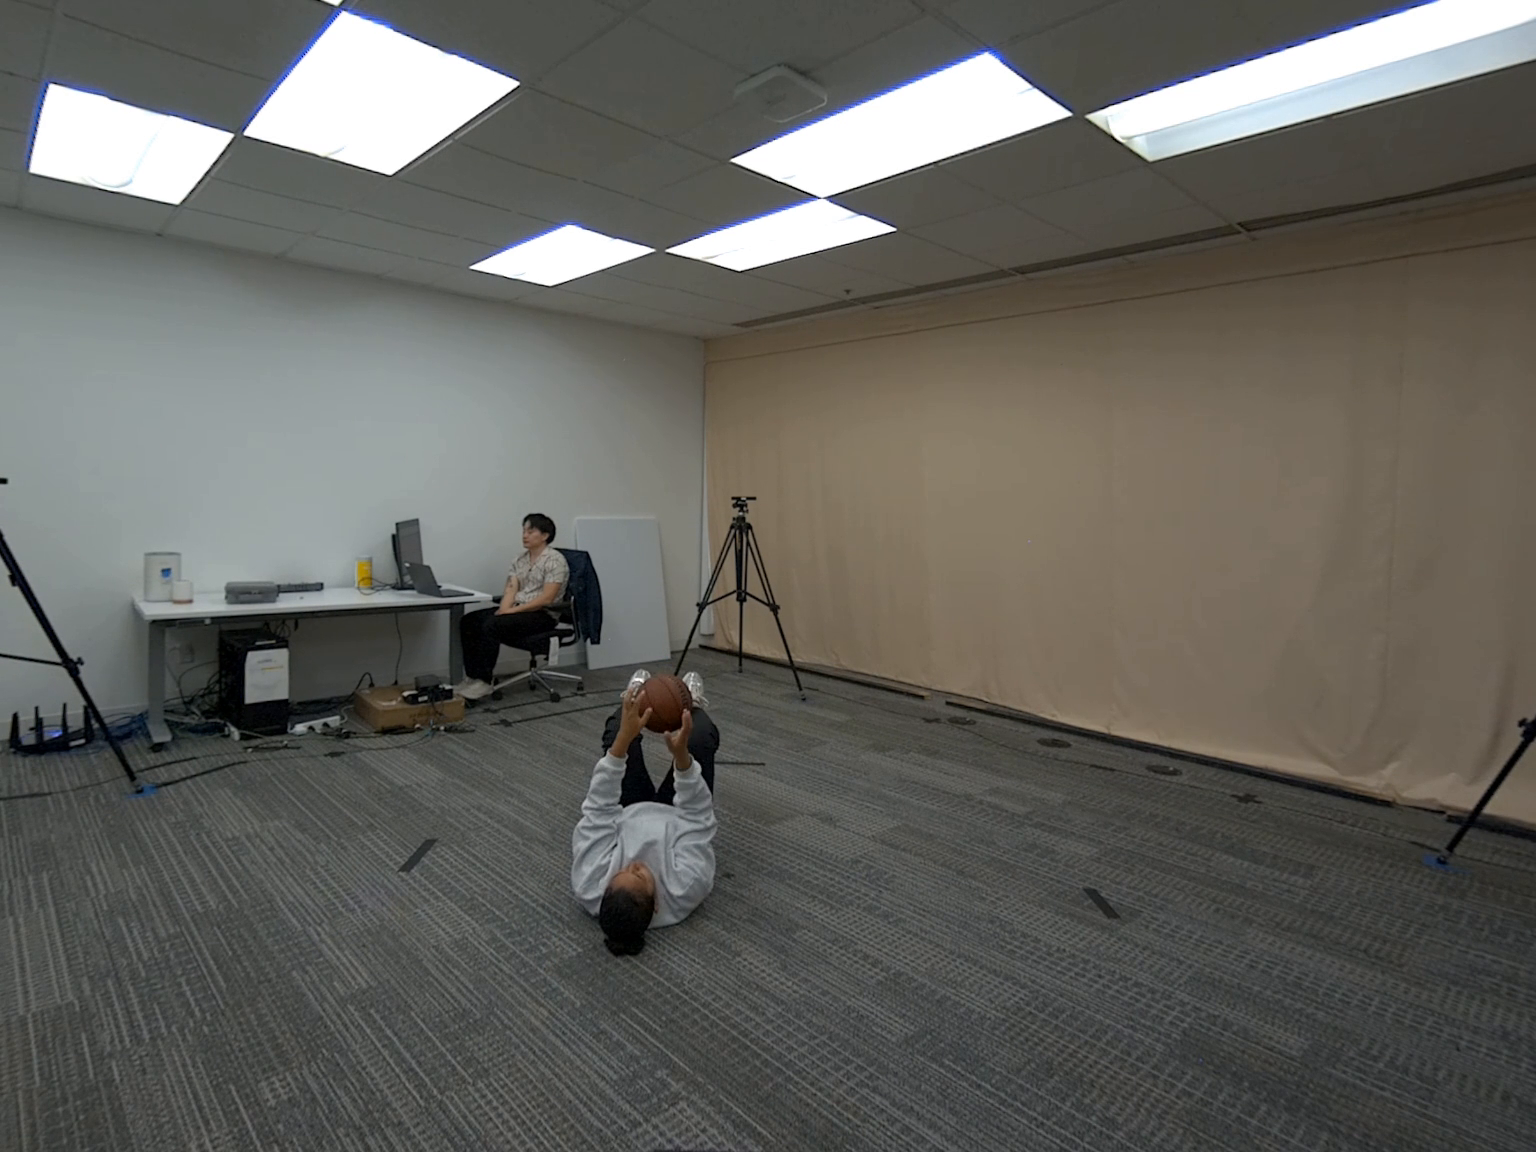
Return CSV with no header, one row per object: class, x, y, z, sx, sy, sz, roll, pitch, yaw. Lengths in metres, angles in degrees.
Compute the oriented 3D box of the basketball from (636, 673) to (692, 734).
basketball,-0.433,0.516,3.420,0.236,0.235,0.237,1,4,-1
